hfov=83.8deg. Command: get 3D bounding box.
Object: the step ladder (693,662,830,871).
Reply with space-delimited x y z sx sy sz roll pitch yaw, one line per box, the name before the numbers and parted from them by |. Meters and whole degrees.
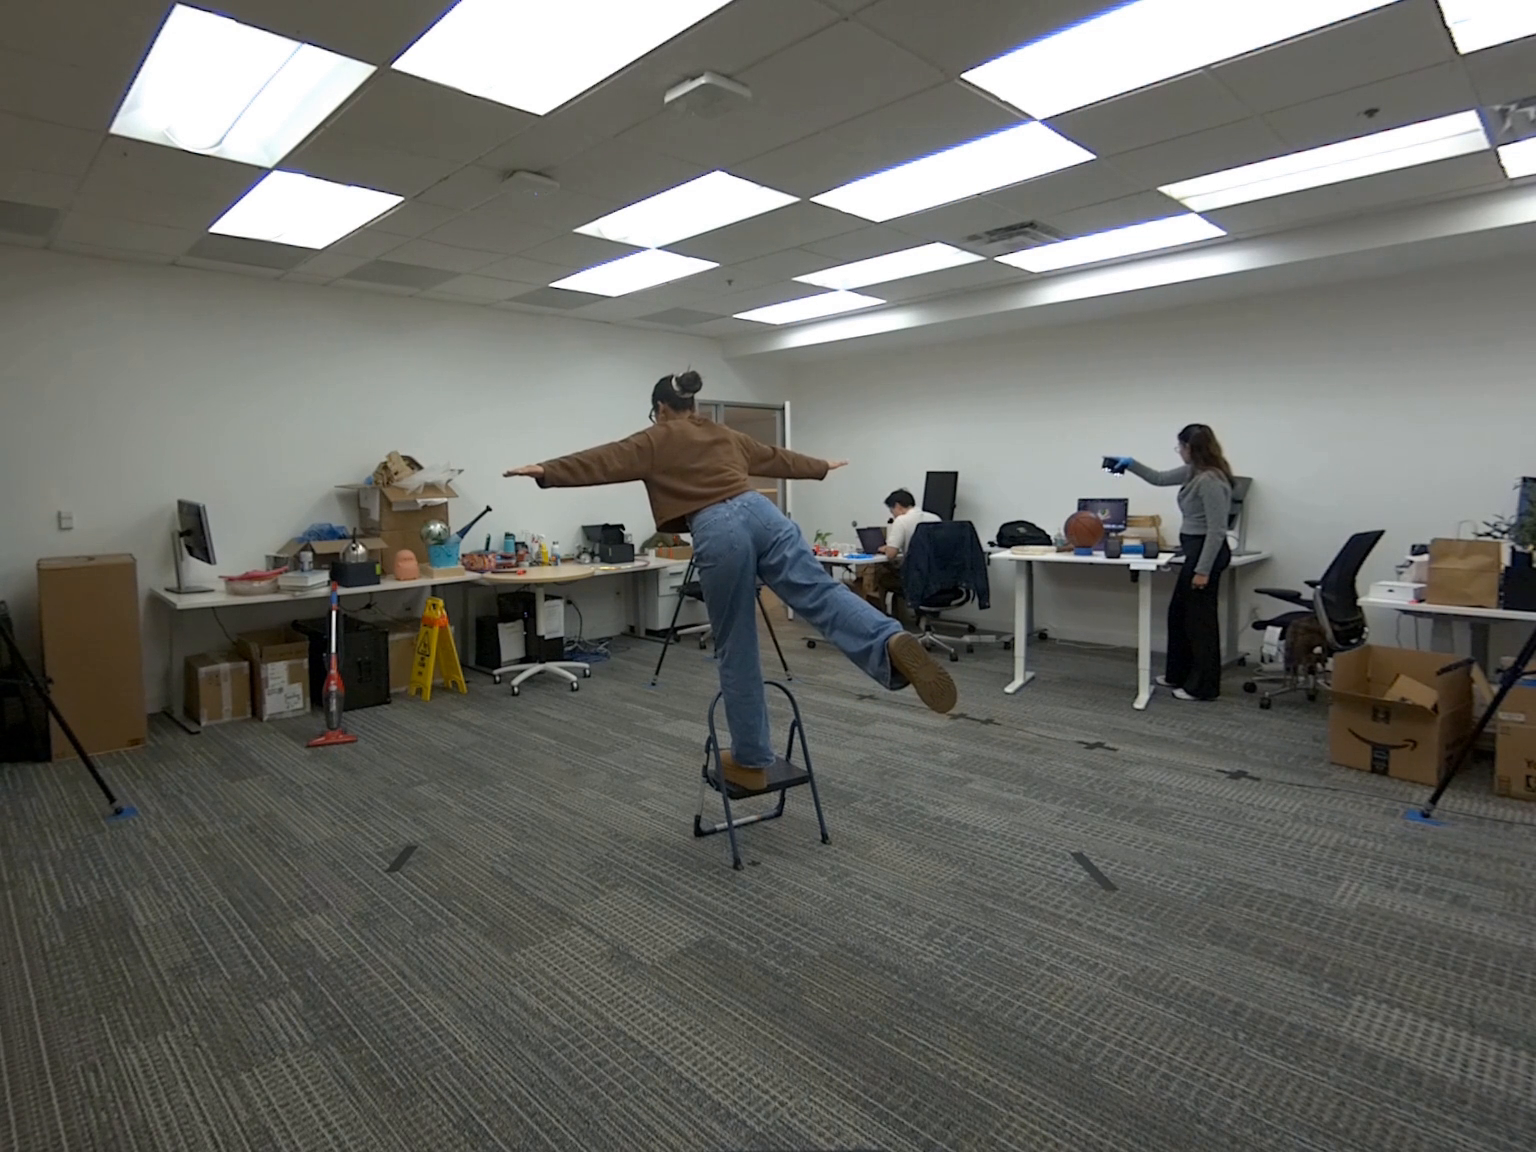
step ladder | -0.030 0.721 3.292 0.420 0.604 0.359 -4 5 -33
